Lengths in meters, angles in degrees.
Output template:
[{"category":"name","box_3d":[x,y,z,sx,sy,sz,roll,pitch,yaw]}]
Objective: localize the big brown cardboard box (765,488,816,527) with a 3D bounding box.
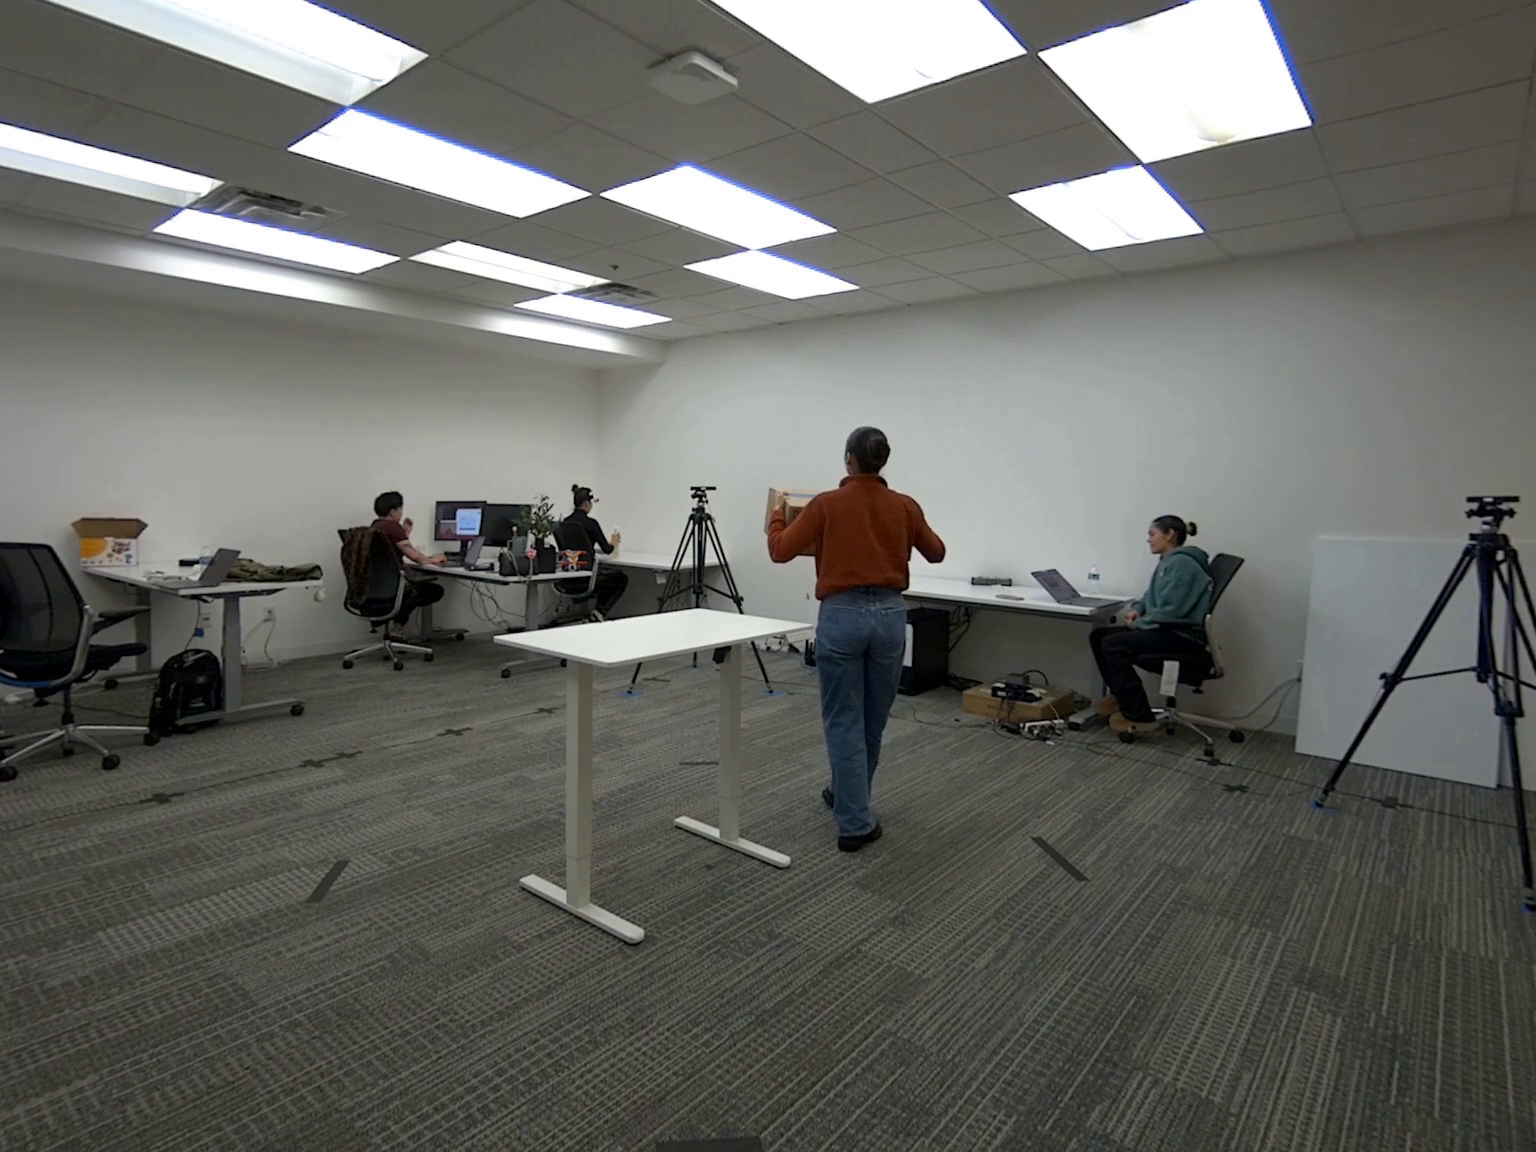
[{"category":"big brown cardboard box","box_3d":[0.309,-0.245,3.783,0.581,0.230,0.428,1,15,-12]}]
